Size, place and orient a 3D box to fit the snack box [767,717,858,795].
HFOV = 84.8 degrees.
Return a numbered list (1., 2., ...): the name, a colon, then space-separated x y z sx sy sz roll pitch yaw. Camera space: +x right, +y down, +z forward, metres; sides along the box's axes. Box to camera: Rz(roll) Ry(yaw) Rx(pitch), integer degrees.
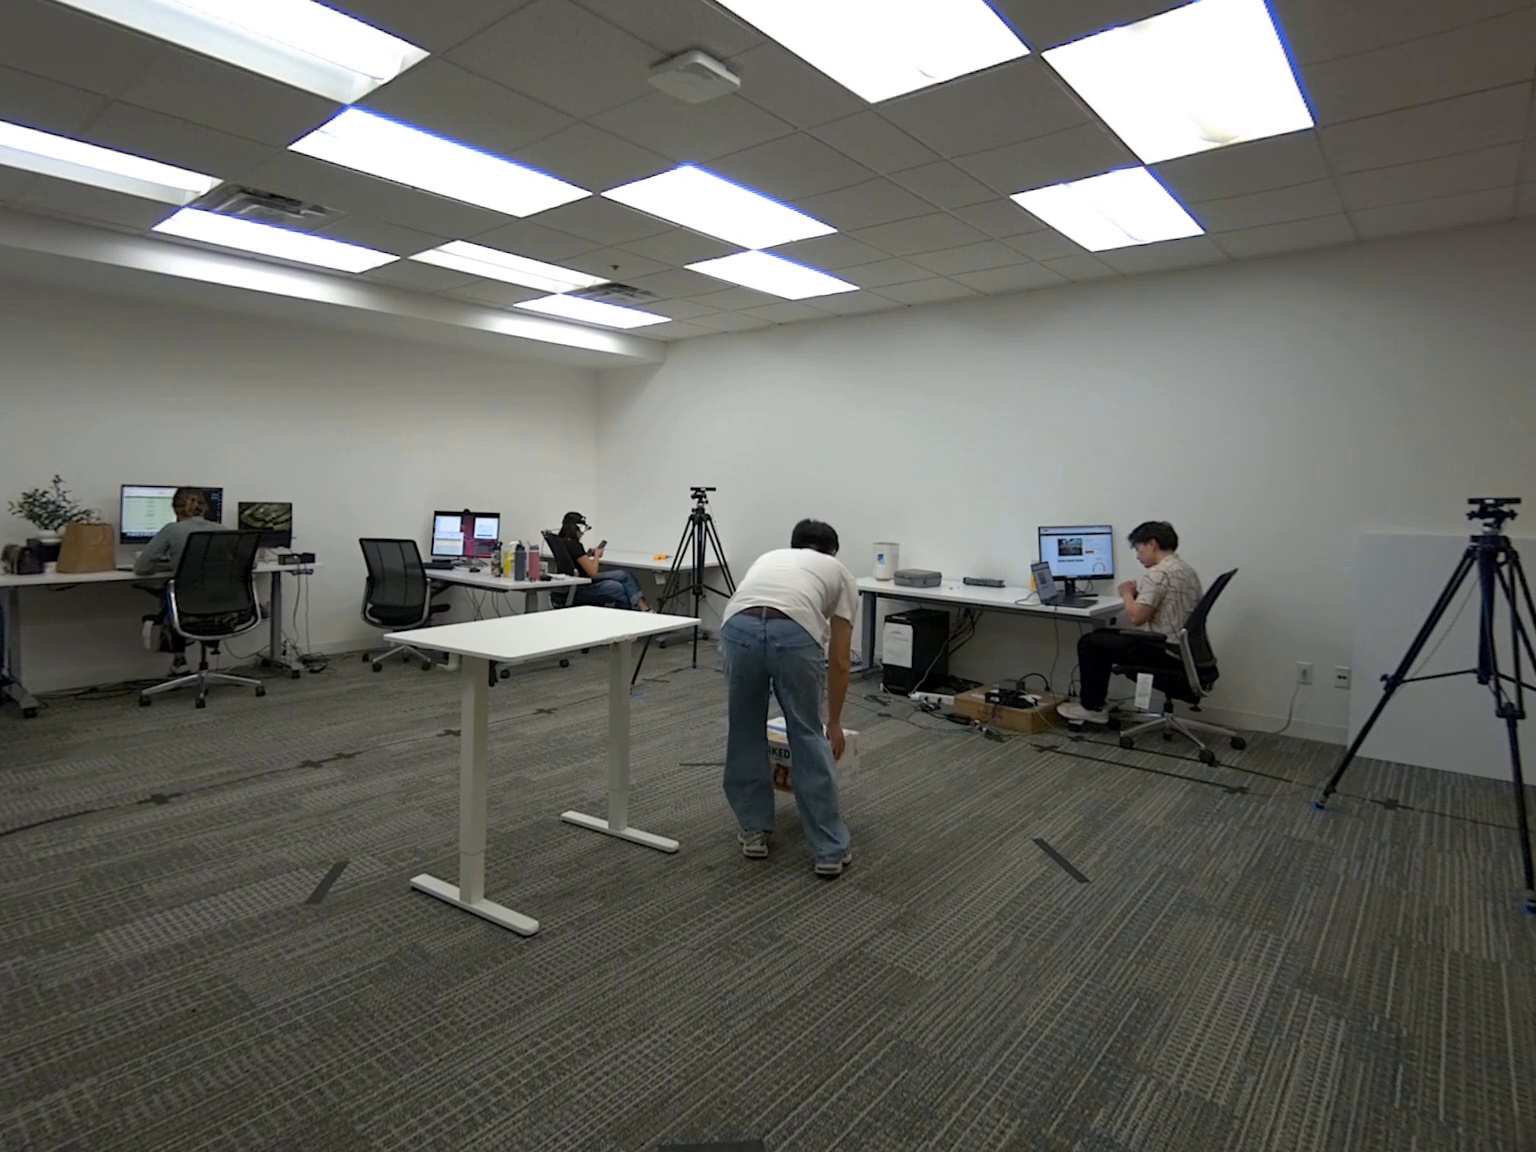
1. snack box: 0.118 0.743 3.560 0.418 0.205 0.331 4 6 36
